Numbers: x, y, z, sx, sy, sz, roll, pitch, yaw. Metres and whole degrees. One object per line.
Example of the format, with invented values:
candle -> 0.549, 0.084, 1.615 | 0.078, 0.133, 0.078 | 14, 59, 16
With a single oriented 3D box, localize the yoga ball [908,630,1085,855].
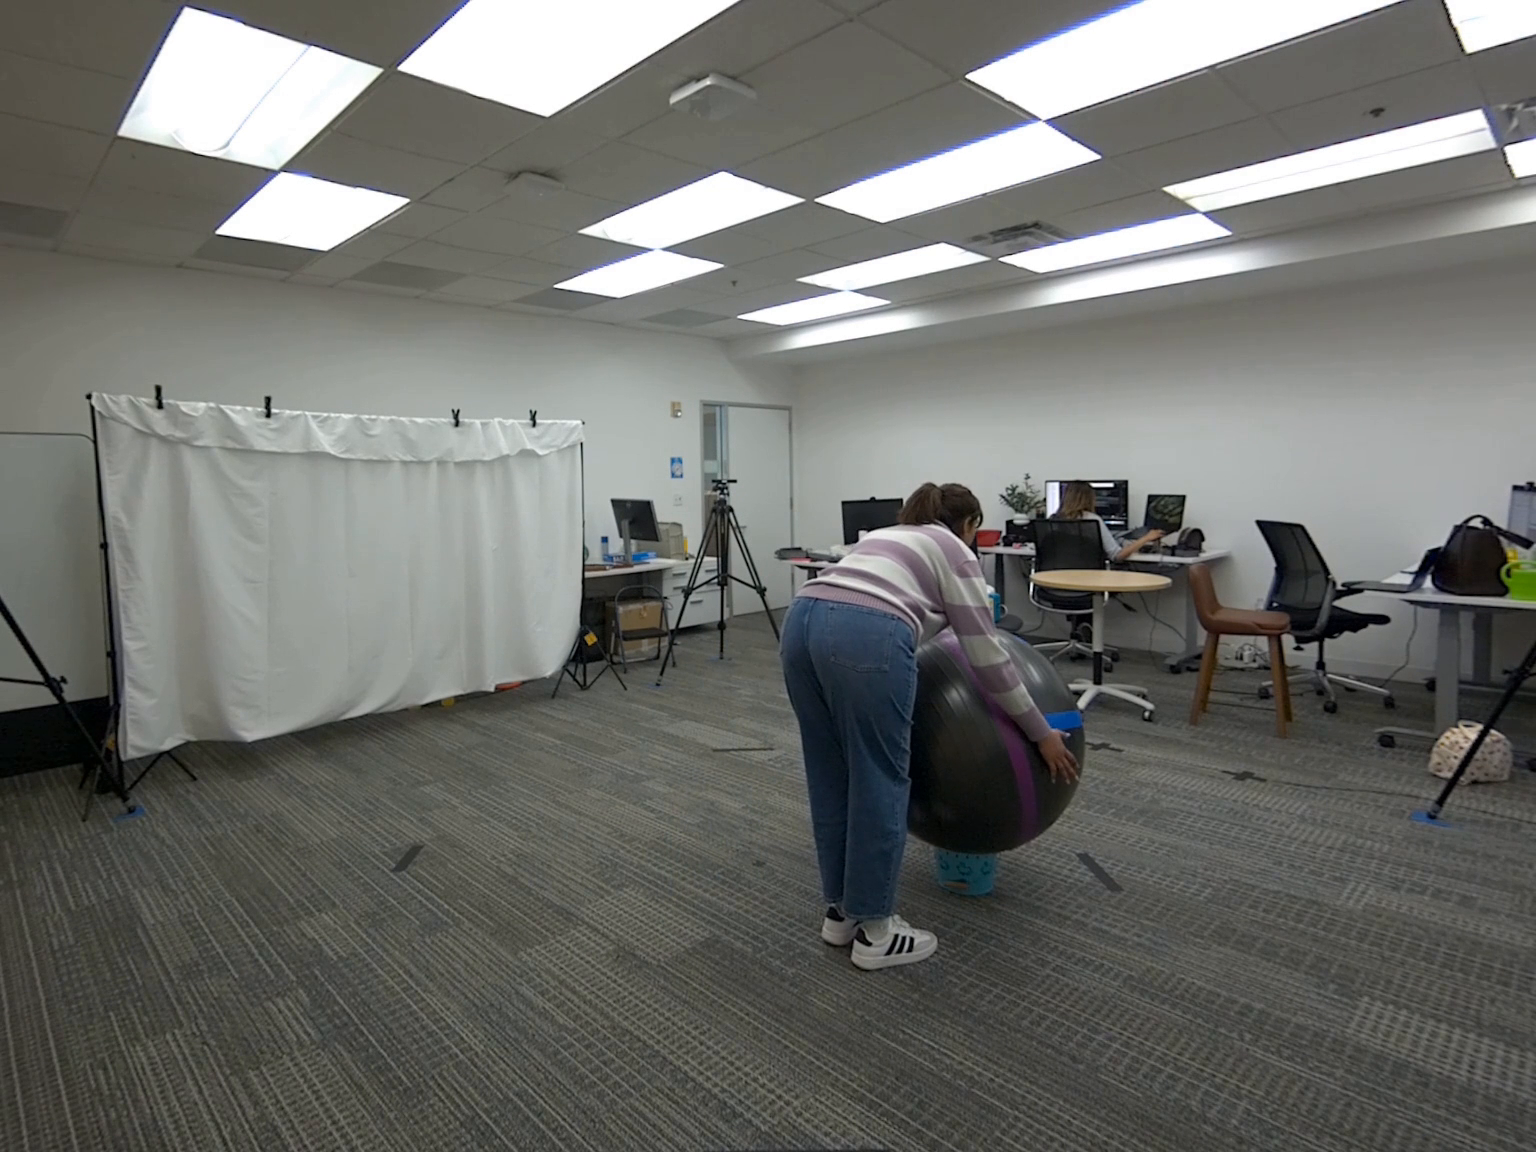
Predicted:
yoga ball -> 0.675, 0.546, 2.915 | 0.757, 0.755, 0.762 | -1, 5, -2
